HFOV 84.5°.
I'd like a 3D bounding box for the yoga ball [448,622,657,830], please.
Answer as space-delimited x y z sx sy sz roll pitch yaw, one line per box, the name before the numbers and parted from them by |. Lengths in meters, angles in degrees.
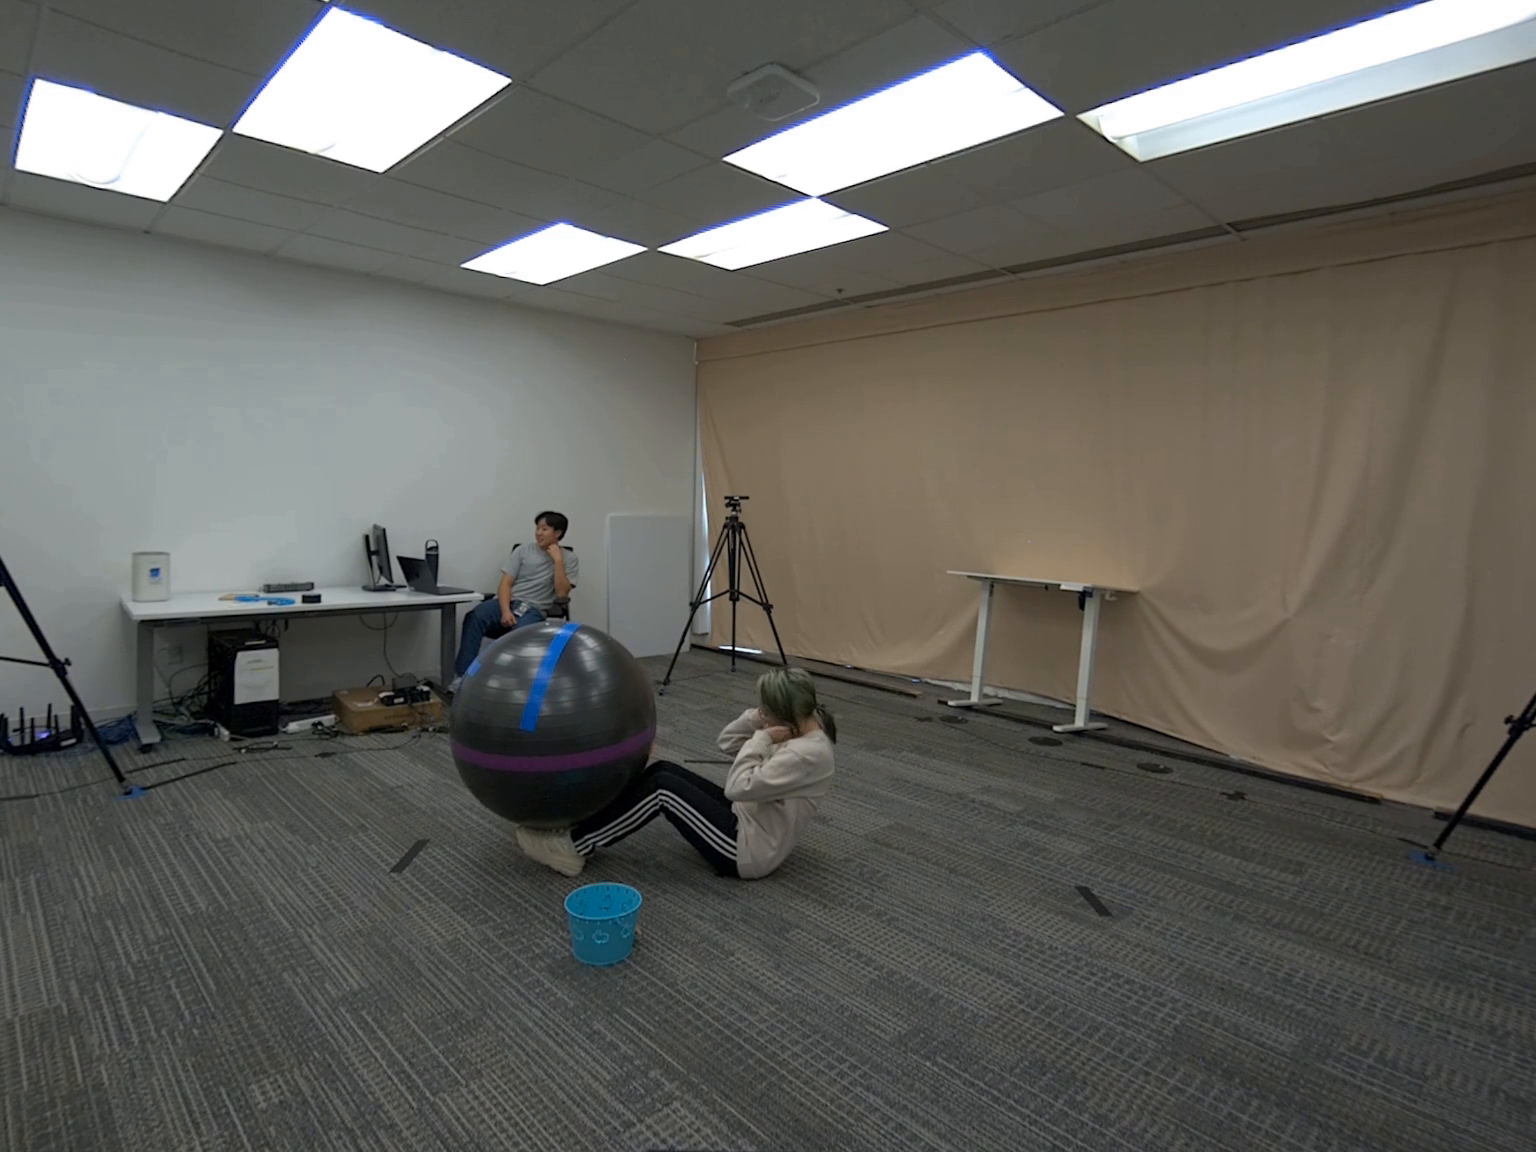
yoga ball | -0.821 0.555 3.157 0.757 0.756 0.761 1 4 -1
